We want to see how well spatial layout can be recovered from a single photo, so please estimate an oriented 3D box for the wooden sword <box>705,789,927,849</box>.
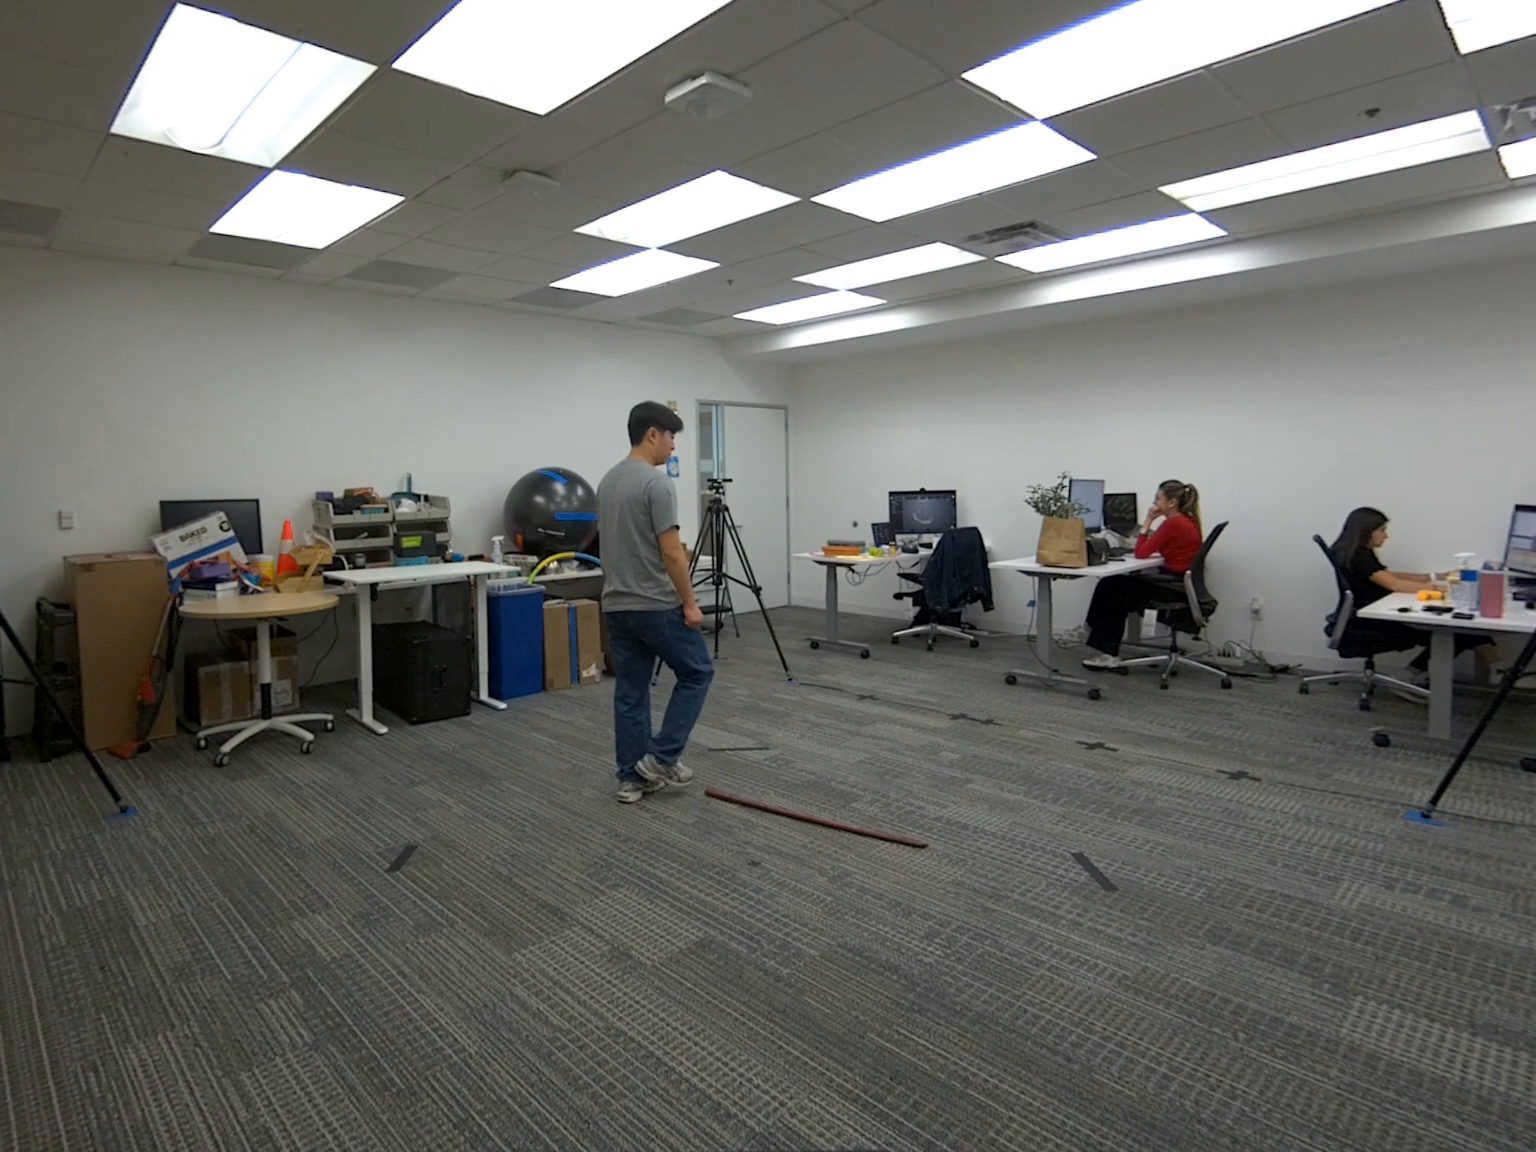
[{"bbox_3d":[0.155,0.978,3.491,1.054,0.023,0.051,4,25,35],"label":"wooden sword"}]
